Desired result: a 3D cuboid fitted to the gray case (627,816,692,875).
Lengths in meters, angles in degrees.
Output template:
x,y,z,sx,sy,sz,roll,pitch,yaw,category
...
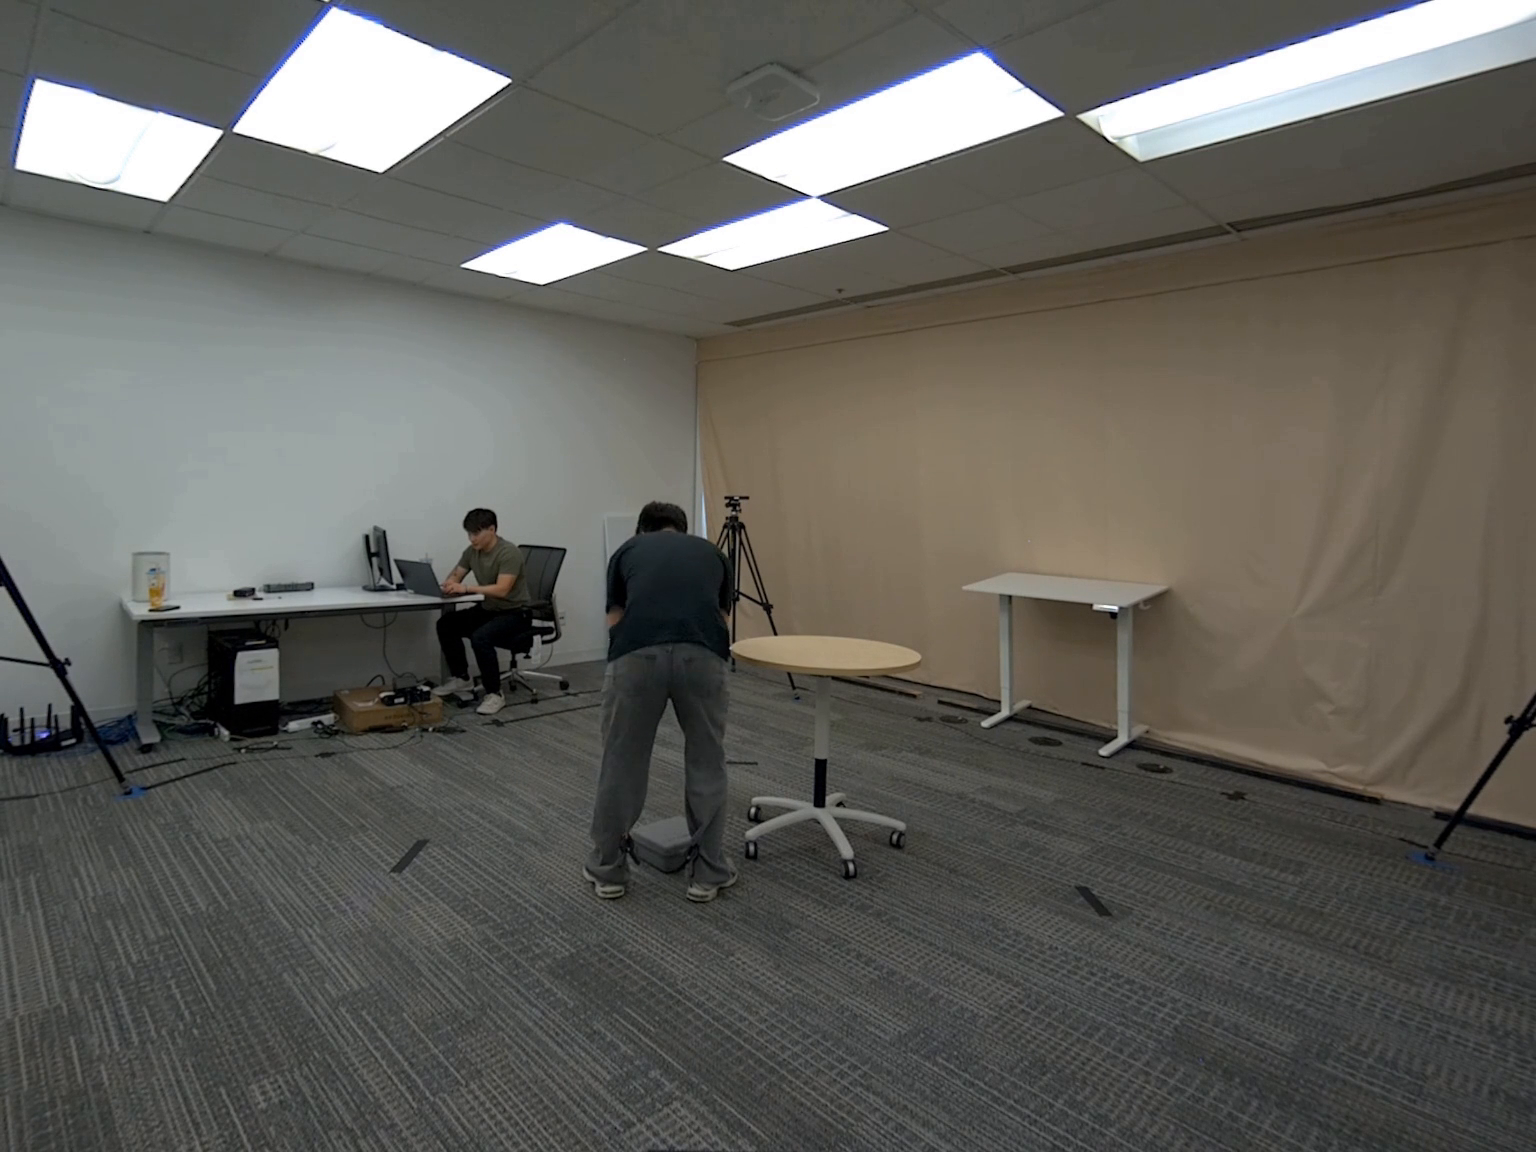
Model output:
x,y,z,sx,sy,sz,roll,pitch,yaw,category
-0.383,1.032,3.263,0.257,0.103,0.294,-3,6,-41,gray case
